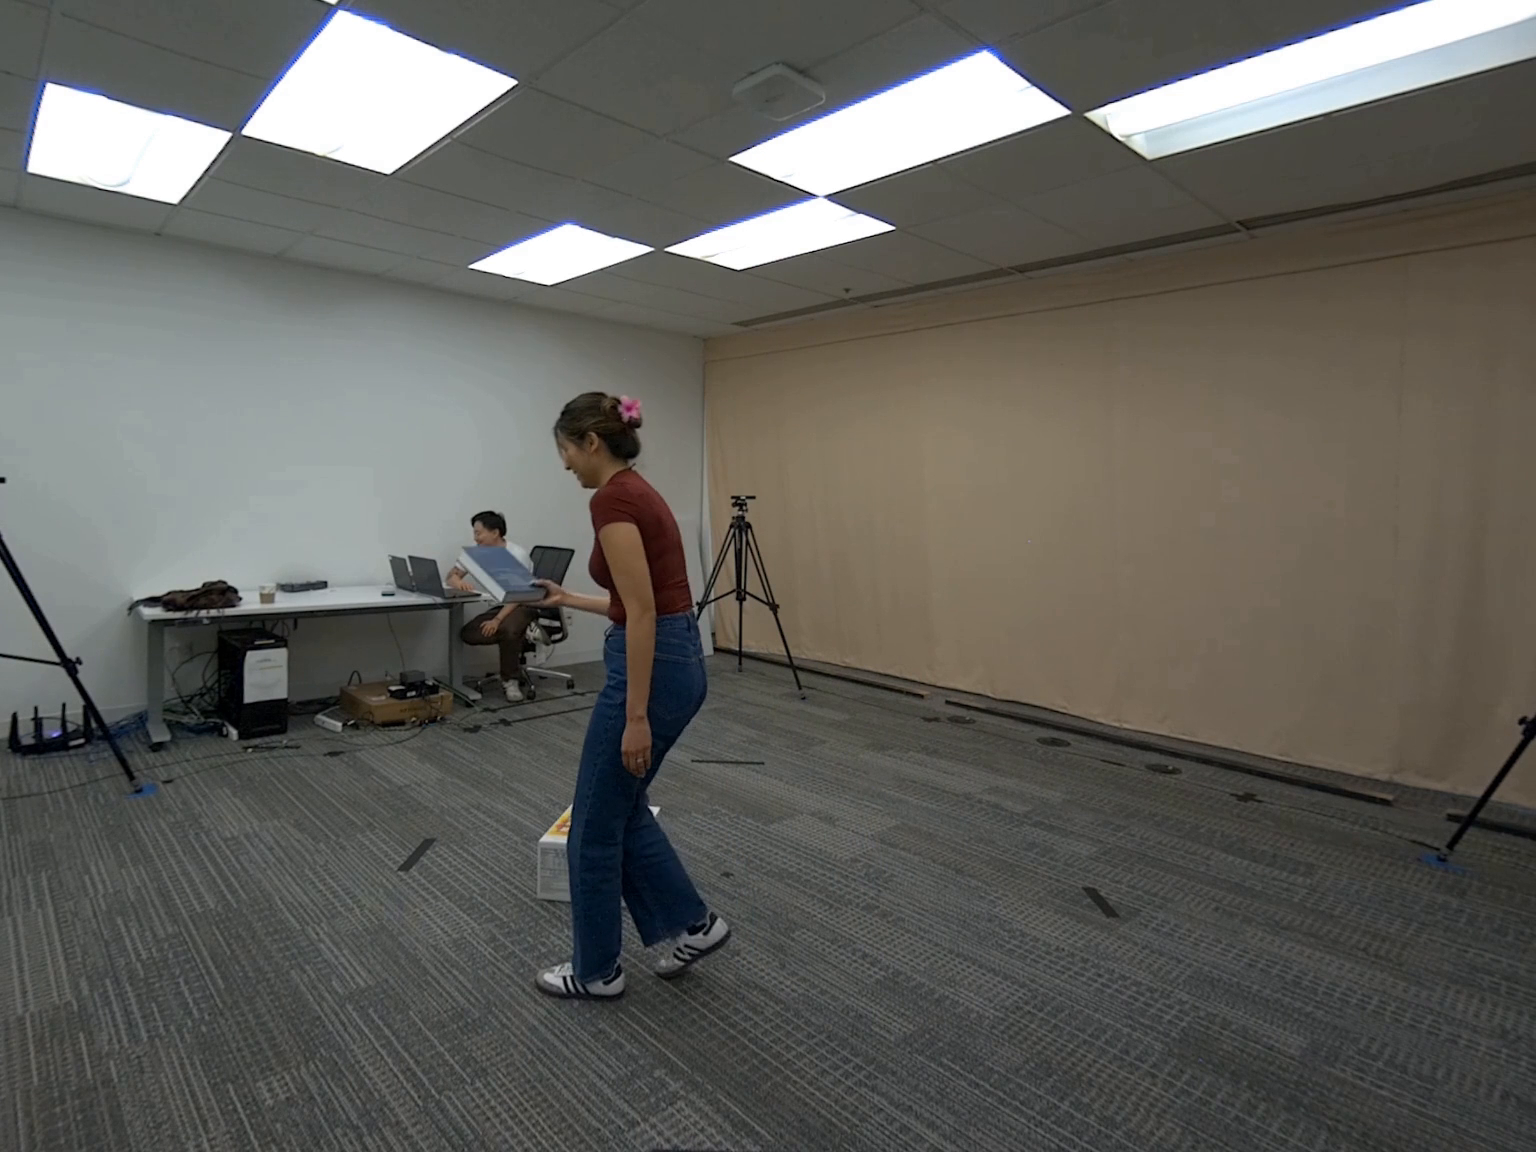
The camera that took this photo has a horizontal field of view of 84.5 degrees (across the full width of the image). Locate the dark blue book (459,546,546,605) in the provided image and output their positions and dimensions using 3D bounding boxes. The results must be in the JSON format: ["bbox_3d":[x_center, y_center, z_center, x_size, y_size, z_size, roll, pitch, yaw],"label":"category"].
[{"bbox_3d":[-0.806,0.002,2.539,0.252,0.045,0.160,37,23,29],"label":"dark blue book"}]
